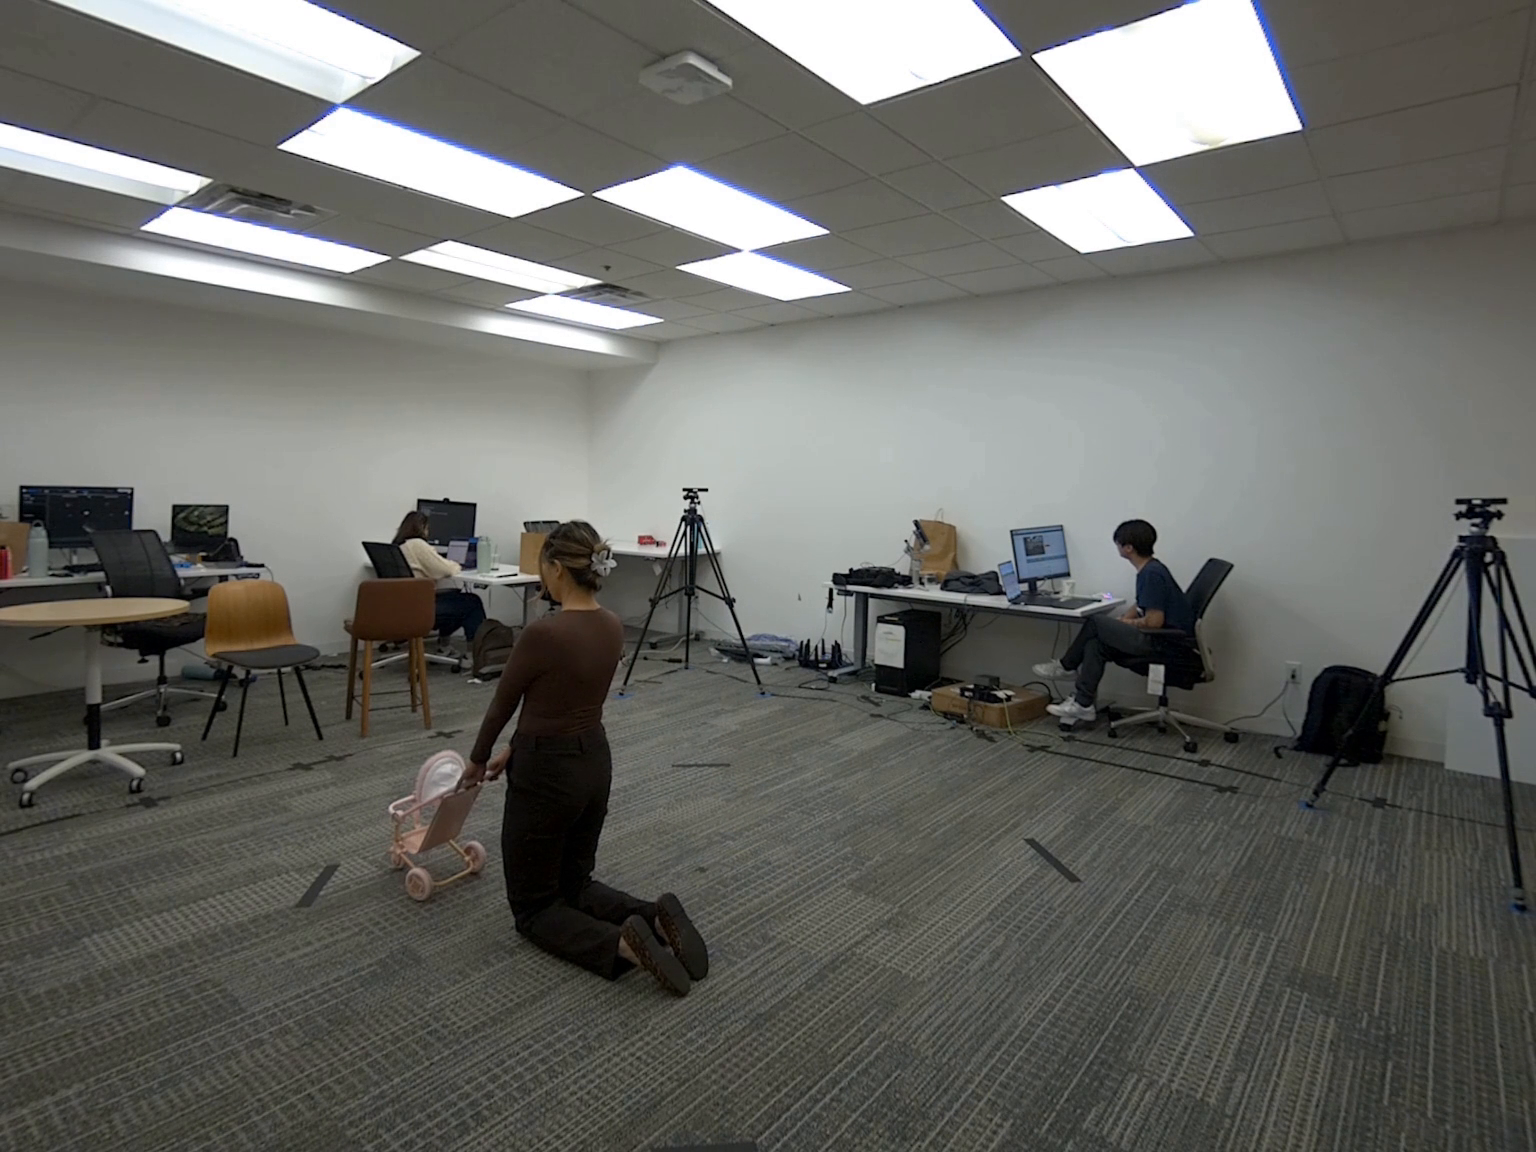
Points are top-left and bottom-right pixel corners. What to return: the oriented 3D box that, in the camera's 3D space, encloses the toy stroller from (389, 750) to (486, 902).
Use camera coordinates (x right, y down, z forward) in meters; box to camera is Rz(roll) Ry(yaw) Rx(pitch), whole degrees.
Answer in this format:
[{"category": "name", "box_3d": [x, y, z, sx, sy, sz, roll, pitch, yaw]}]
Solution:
[{"category": "toy stroller", "box_3d": [-1.171, 0.845, 2.970, 0.354, 0.531, 0.273, 24, 14, 30]}]
